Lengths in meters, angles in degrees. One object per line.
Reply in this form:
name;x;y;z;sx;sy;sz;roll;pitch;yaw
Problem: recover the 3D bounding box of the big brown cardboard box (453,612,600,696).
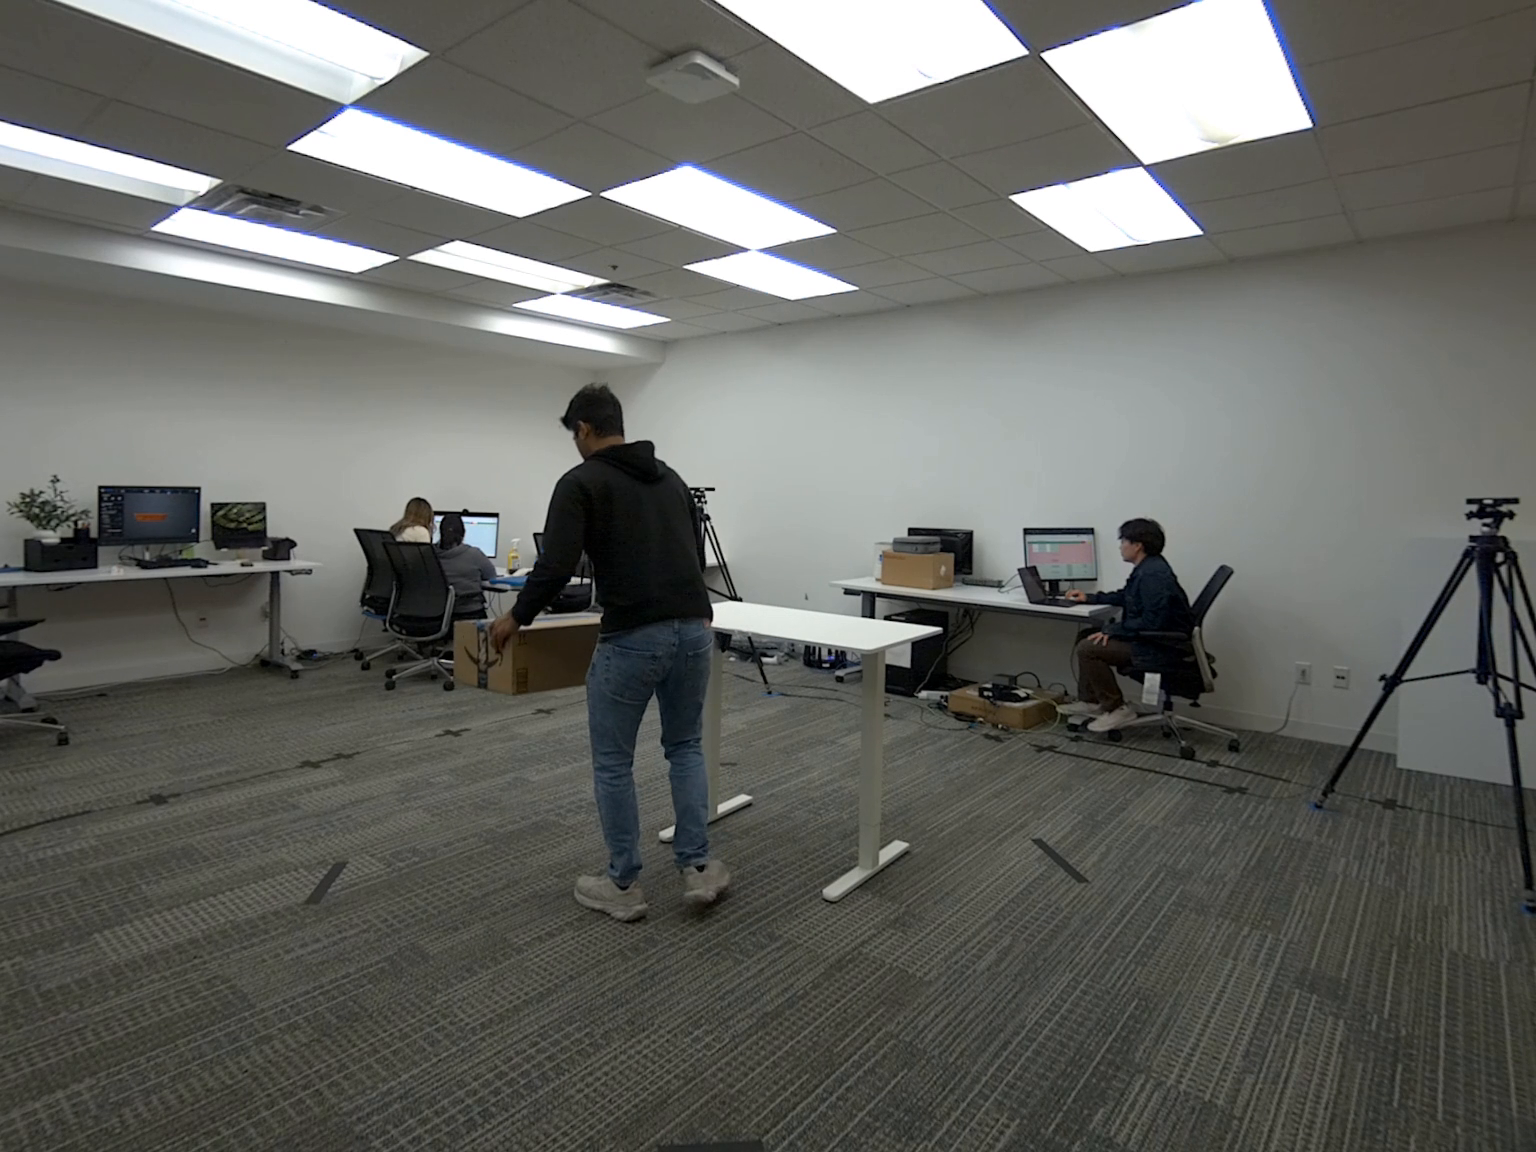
big brown cardboard box;-0.782;0.268;3.083;0.431;0.233;0.570;1;1;44
